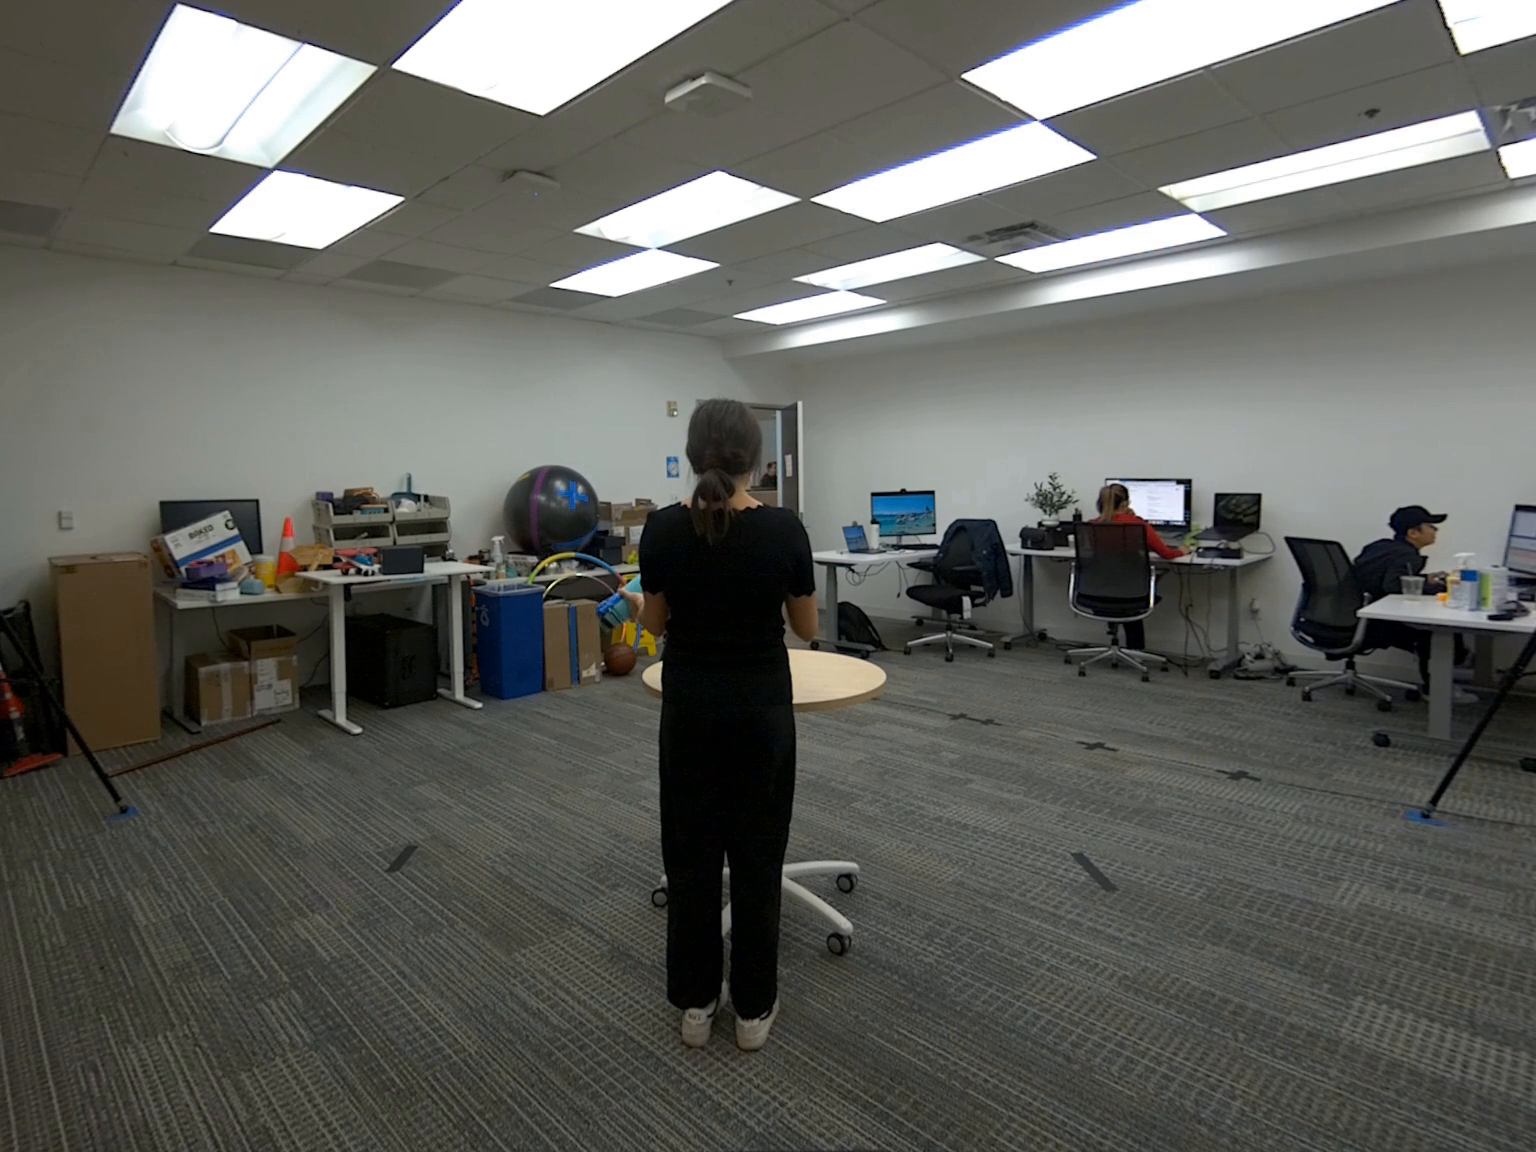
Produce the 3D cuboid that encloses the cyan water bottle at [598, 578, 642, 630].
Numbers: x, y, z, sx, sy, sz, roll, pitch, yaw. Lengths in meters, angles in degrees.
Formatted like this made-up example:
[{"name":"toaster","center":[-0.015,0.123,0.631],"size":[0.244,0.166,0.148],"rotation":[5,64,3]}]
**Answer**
[{"name":"cyan water bottle","center":[-0.395,0.054,2.560],"size":[0.283,0.091,0.093],"rotation":[-38,8,-3]}]
